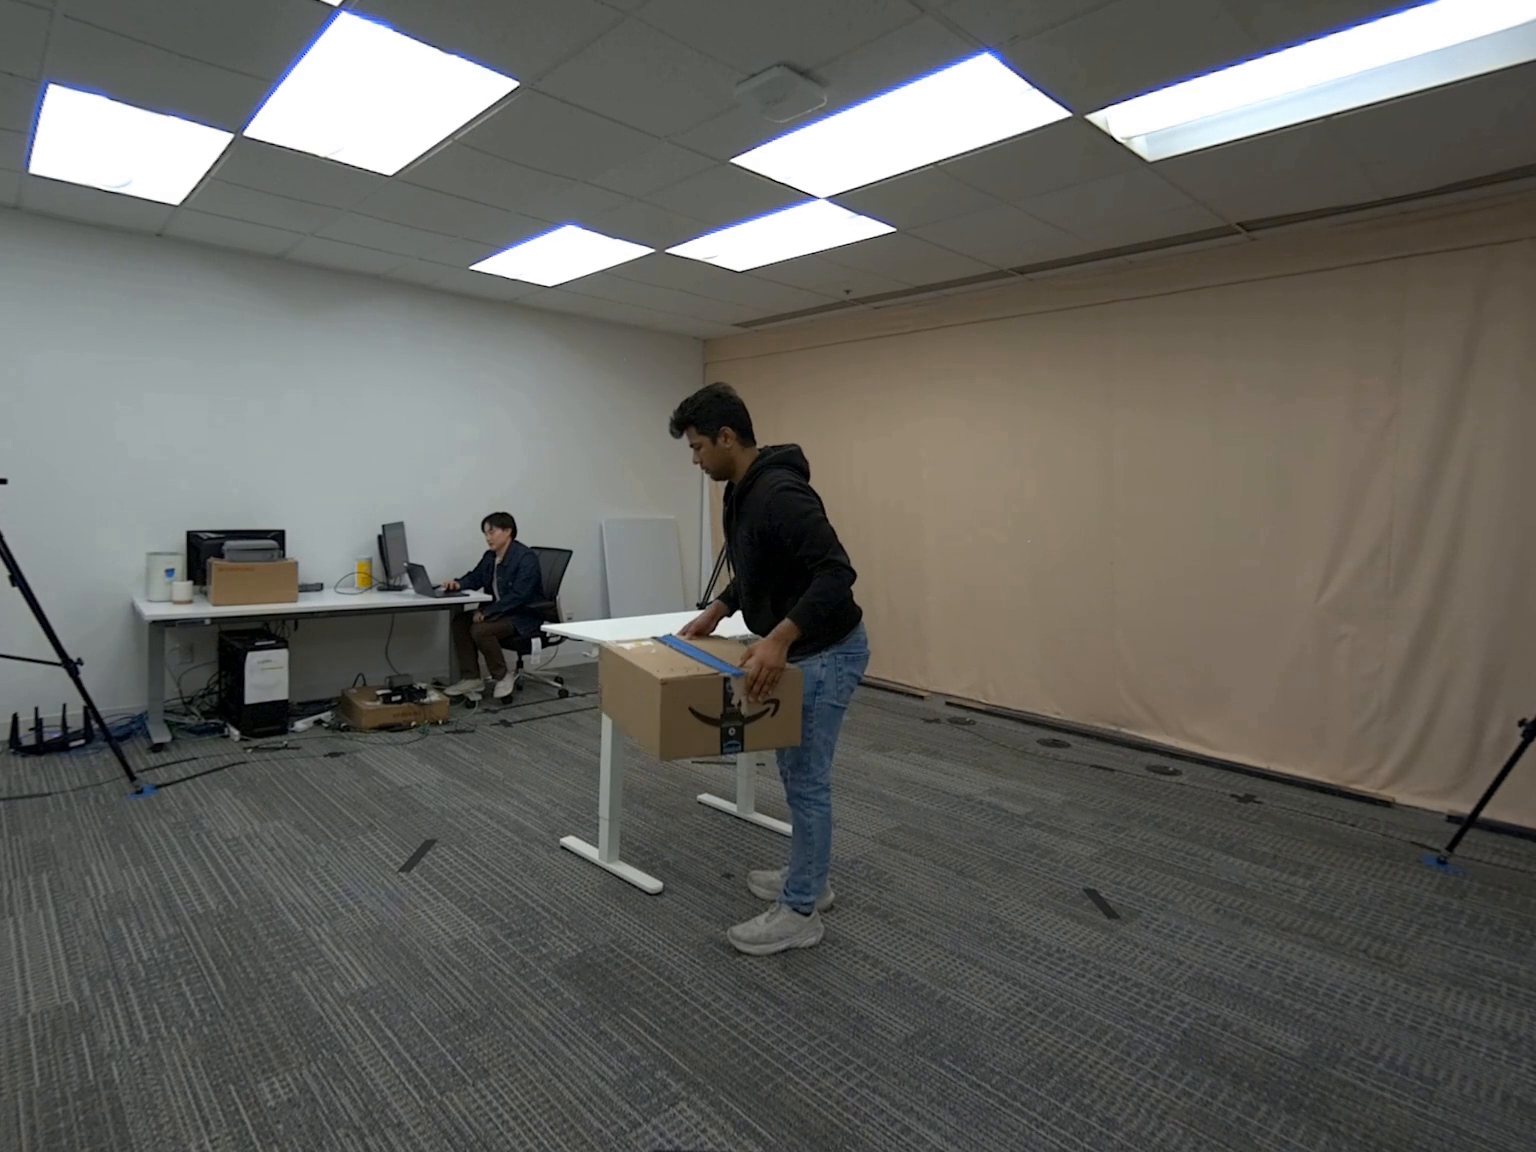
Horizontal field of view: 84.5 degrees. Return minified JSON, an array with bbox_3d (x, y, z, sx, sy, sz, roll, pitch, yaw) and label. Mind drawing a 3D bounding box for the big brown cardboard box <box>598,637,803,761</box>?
[{"bbox_3d":[-0.230,0.339,2.477,0.410,0.232,0.602,-1,7,-27],"label":"big brown cardboard box"}]
